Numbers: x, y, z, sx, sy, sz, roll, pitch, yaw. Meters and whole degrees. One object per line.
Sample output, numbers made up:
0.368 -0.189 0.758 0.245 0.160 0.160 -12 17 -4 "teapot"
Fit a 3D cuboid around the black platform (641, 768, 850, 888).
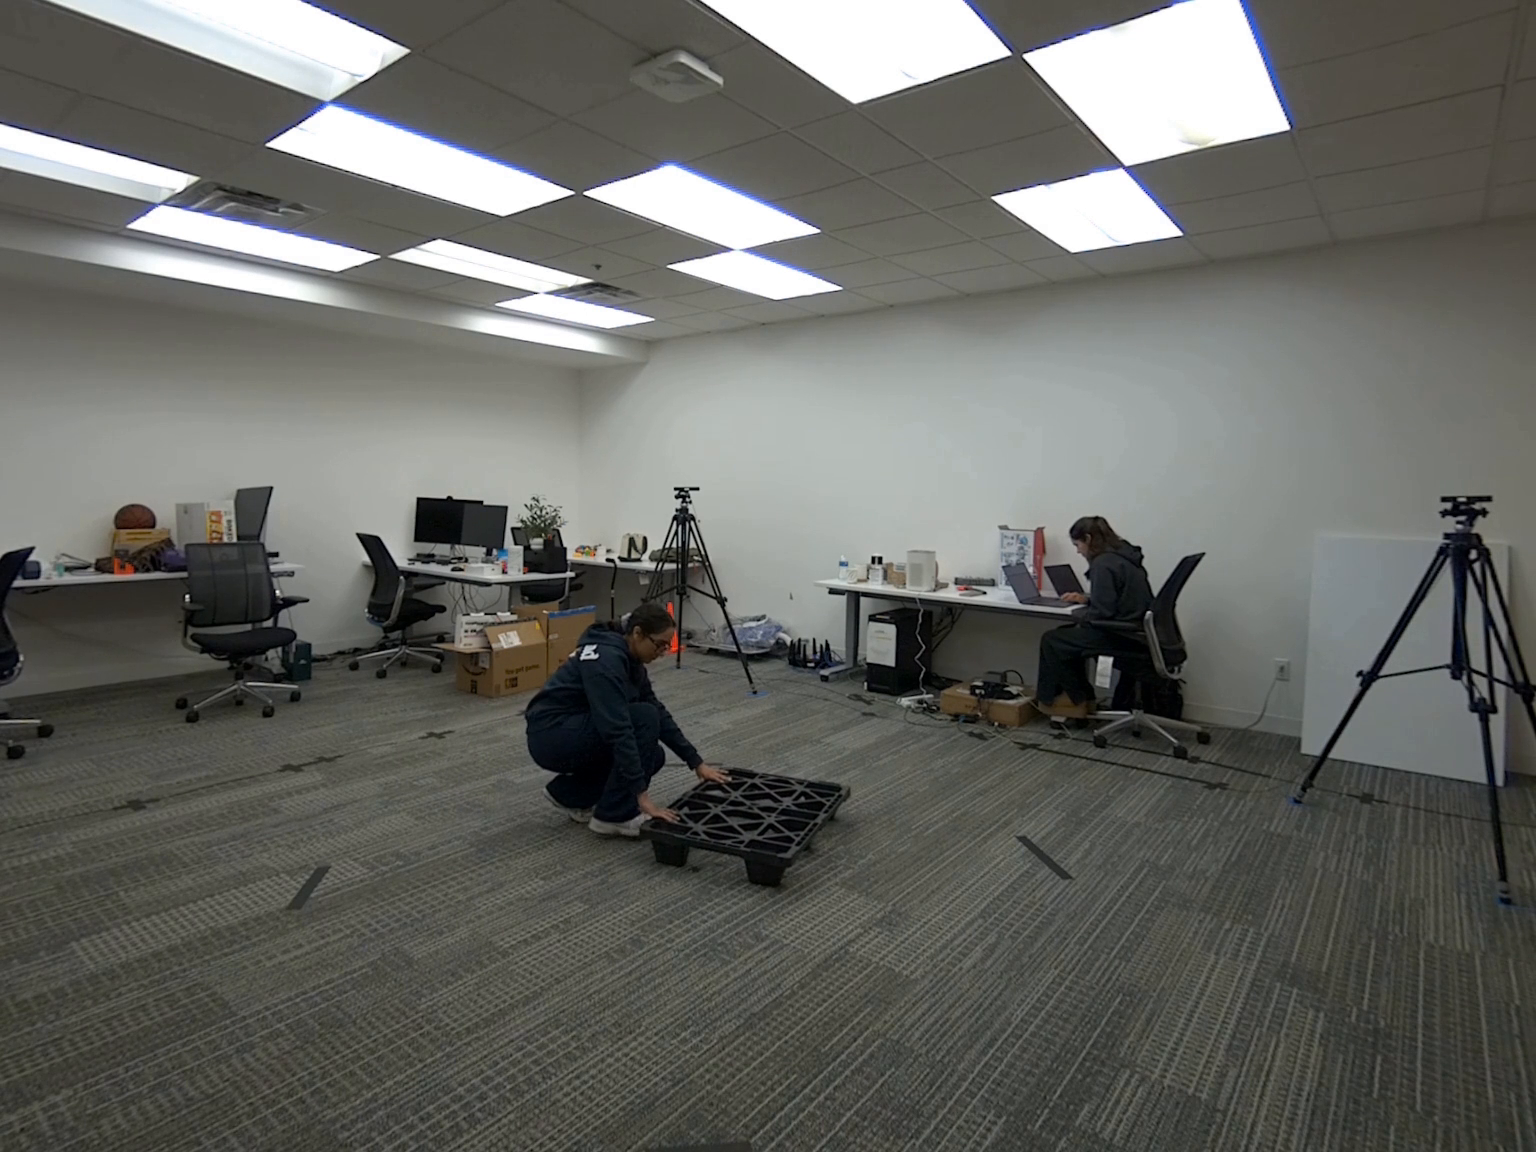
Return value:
-0.079 0.974 3.380 0.620 0.143 0.789 3 5 22 "black platform"
